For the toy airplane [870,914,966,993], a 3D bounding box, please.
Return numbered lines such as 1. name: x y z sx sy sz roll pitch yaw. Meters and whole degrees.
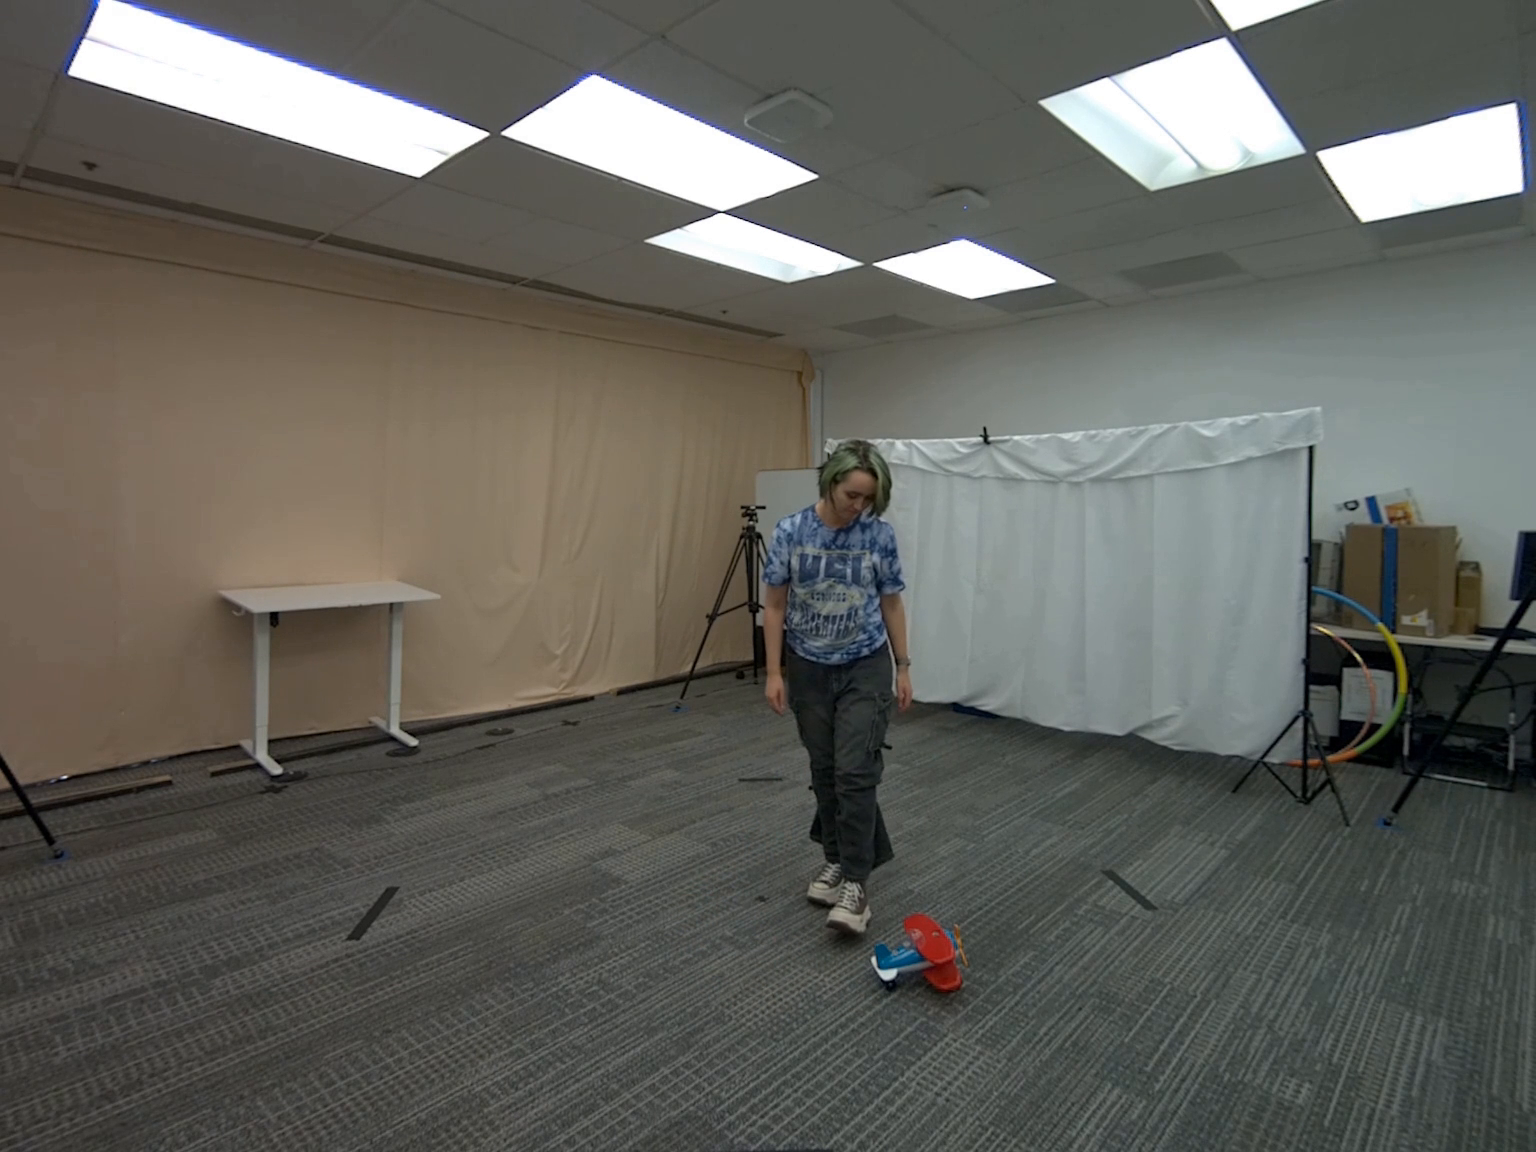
1. toy airplane: 0.449 1.117 2.427 0.251 0.156 0.259 -2 6 -36
